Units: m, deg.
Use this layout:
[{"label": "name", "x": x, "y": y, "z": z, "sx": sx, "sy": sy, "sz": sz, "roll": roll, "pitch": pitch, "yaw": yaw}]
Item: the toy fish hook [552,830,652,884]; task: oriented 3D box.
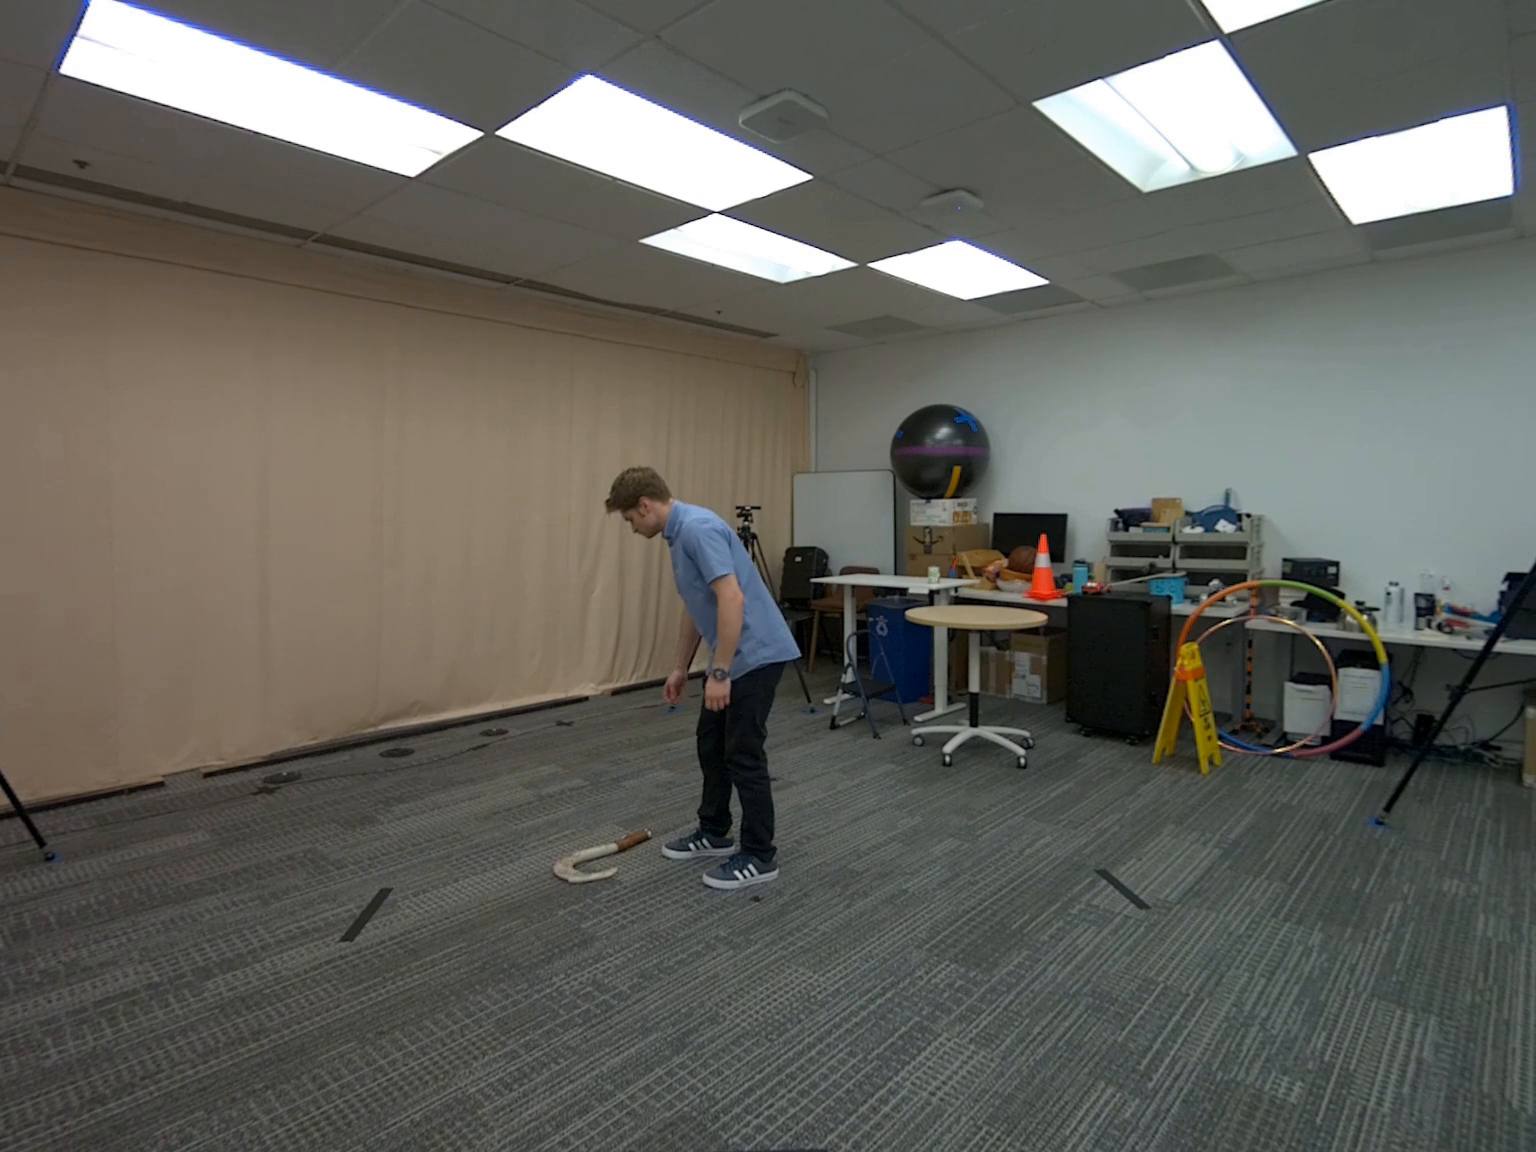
[{"label": "toy fish hook", "x": -0.611, "y": 1.106, "z": 3.325, "sx": 0.232, "sy": 0.048, "sz": 0.492, "roll": 12, "pitch": 12, "yaw": 38}]
